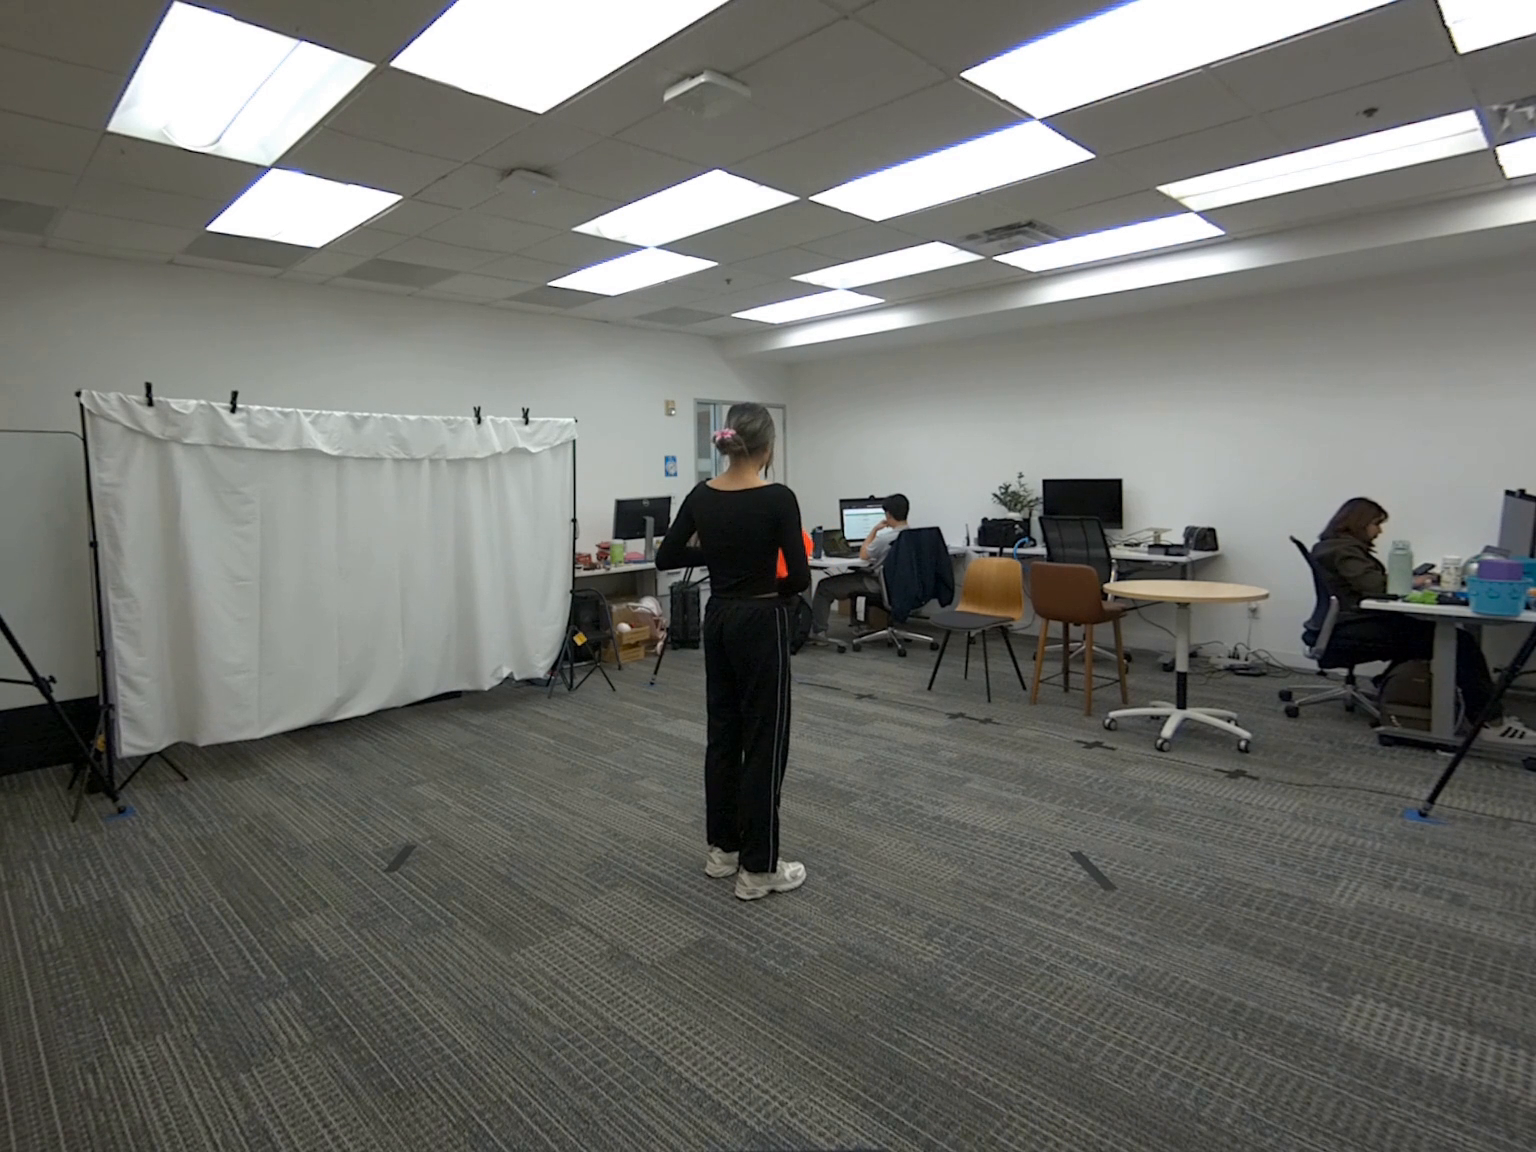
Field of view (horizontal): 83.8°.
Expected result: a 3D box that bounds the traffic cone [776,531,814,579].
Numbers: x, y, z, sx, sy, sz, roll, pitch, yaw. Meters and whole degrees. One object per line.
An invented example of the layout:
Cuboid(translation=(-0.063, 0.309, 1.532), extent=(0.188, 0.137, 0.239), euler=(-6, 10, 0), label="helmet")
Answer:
Cuboid(translation=(-0.062, -0.106, 3.151), extent=(0.396, 0.205, 0.197), euler=(10, -25, 34), label="traffic cone")
